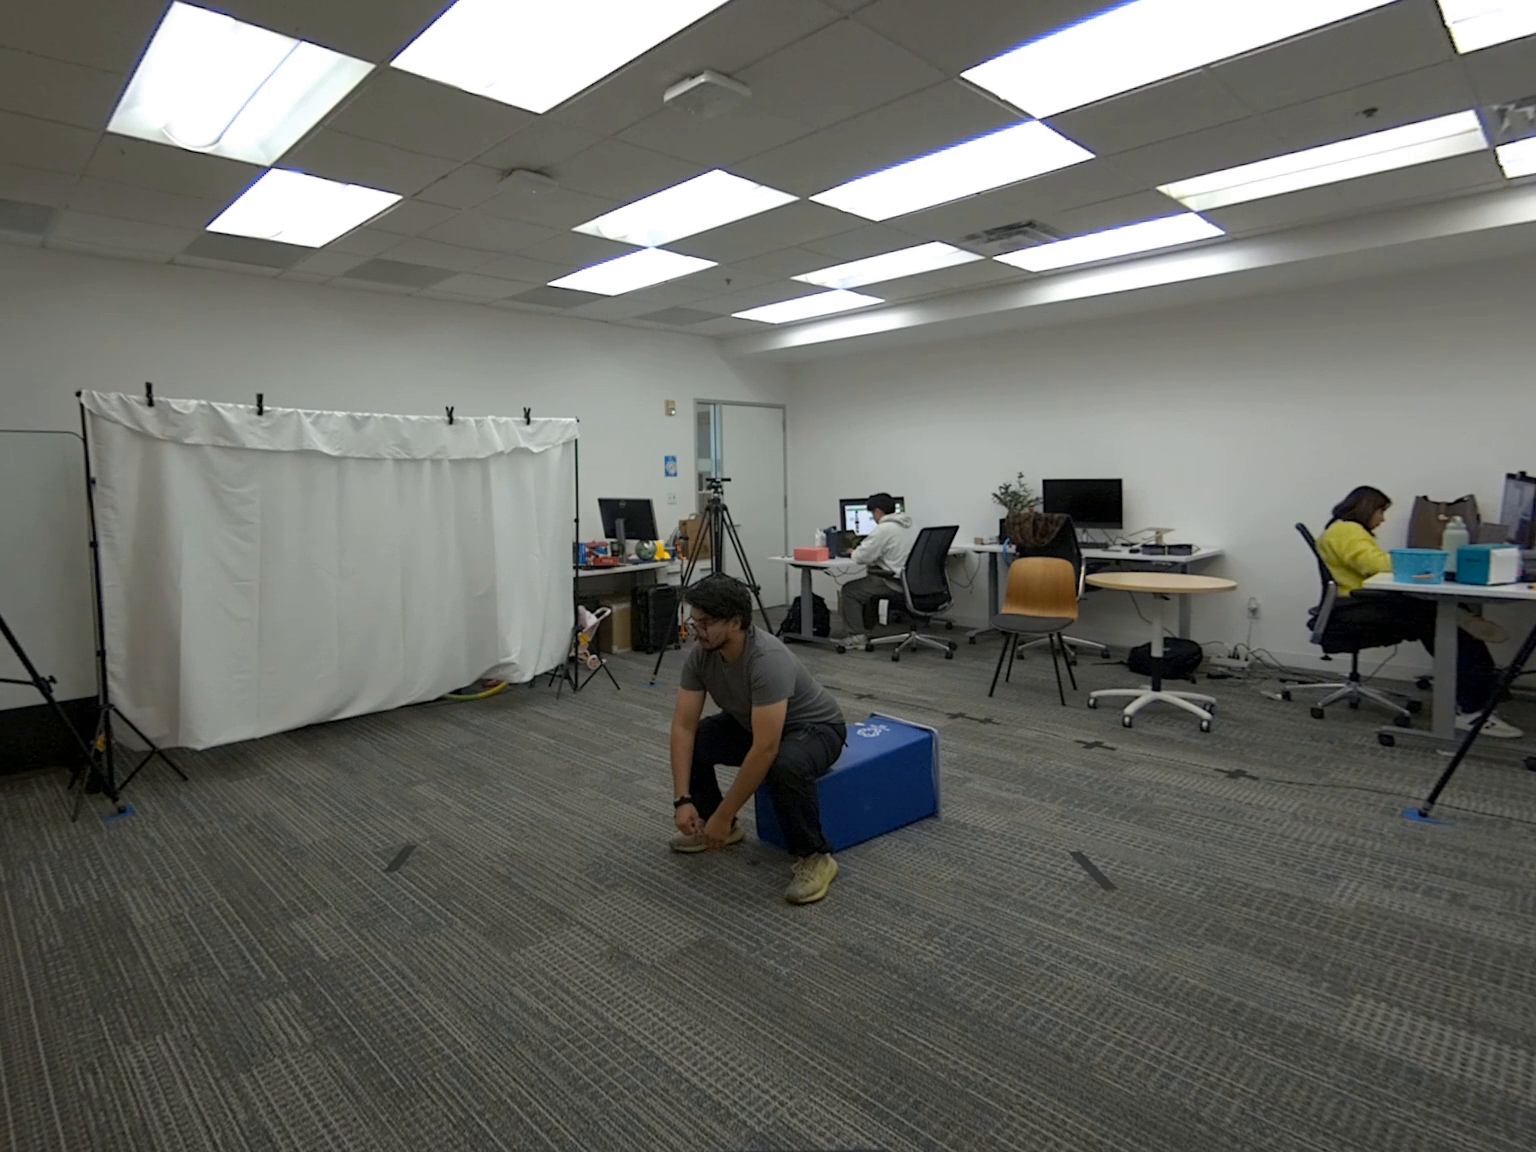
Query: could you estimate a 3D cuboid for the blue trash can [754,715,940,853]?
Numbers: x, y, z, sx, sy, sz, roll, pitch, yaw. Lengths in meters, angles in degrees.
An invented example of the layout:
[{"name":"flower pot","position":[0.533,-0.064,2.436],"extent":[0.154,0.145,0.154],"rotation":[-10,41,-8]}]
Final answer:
[{"name":"blue trash can","position":[0.322,0.826,3.410],"extent":[0.696,0.372,0.390],"rotation":[-8,8,-39]}]
